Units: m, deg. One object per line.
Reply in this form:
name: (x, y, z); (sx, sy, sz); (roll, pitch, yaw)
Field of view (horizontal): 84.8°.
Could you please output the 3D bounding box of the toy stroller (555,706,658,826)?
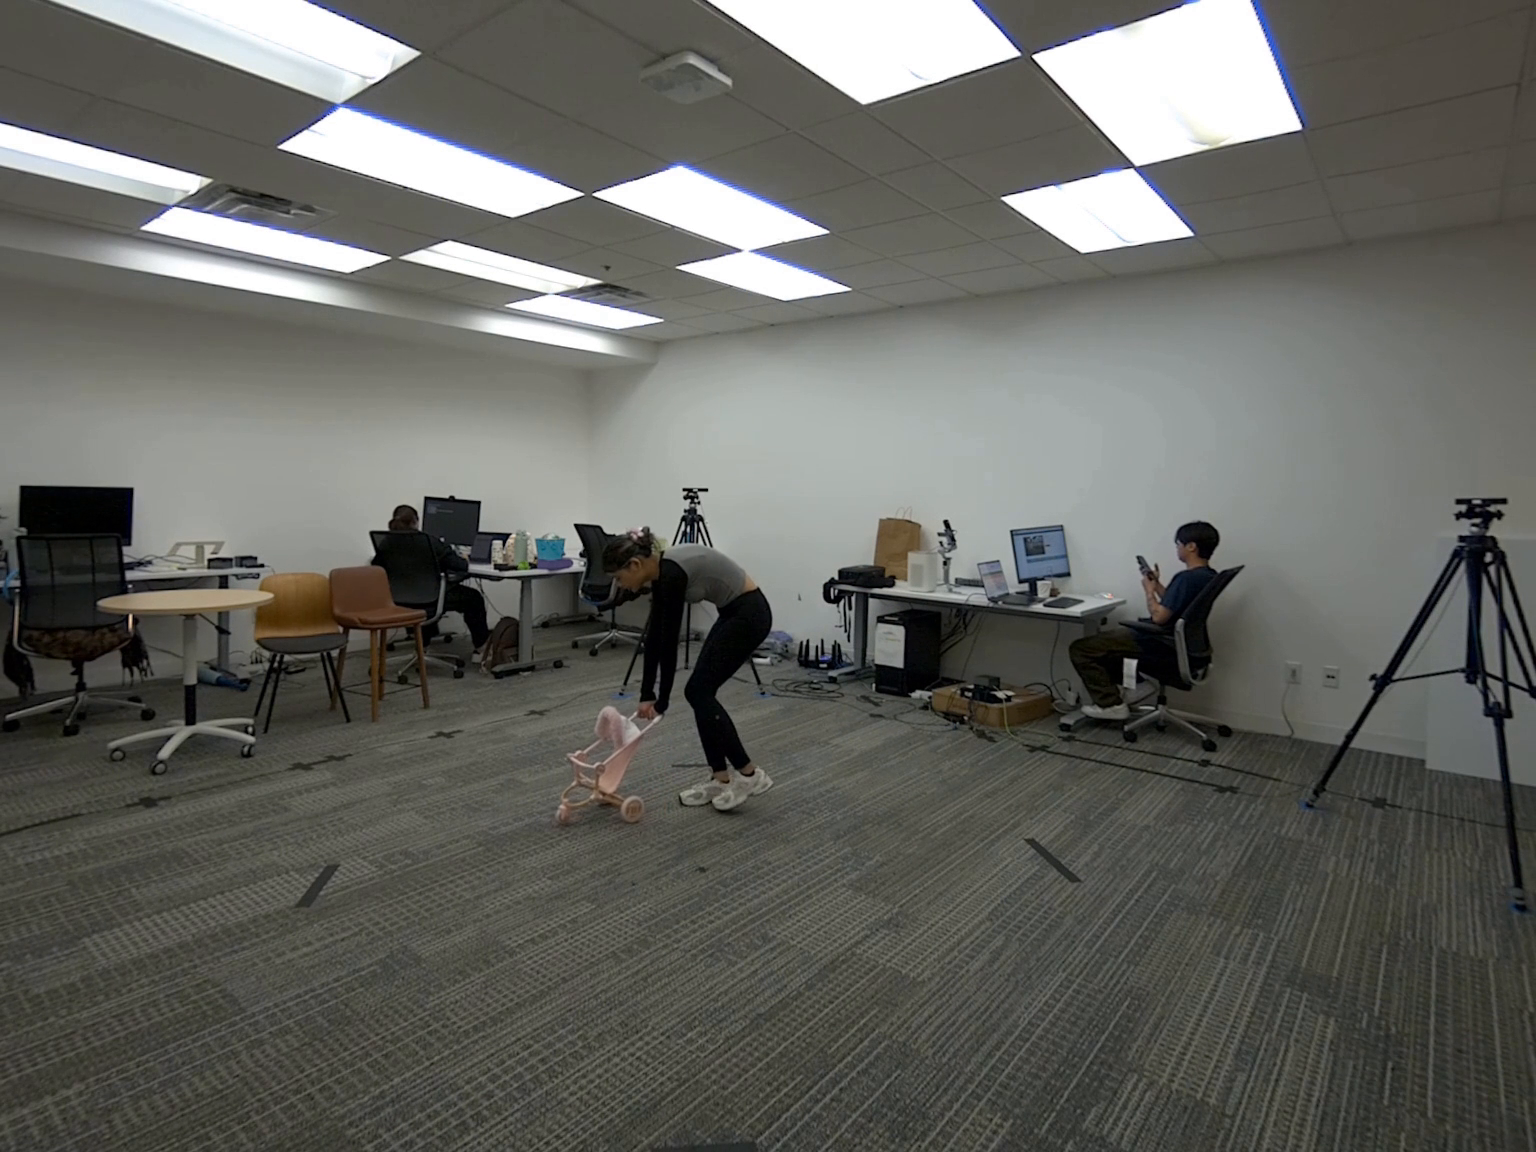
toy stroller: (-0.699, 0.788, 3.599); (0.330, 0.537, 0.290); (18, -7, -31)
